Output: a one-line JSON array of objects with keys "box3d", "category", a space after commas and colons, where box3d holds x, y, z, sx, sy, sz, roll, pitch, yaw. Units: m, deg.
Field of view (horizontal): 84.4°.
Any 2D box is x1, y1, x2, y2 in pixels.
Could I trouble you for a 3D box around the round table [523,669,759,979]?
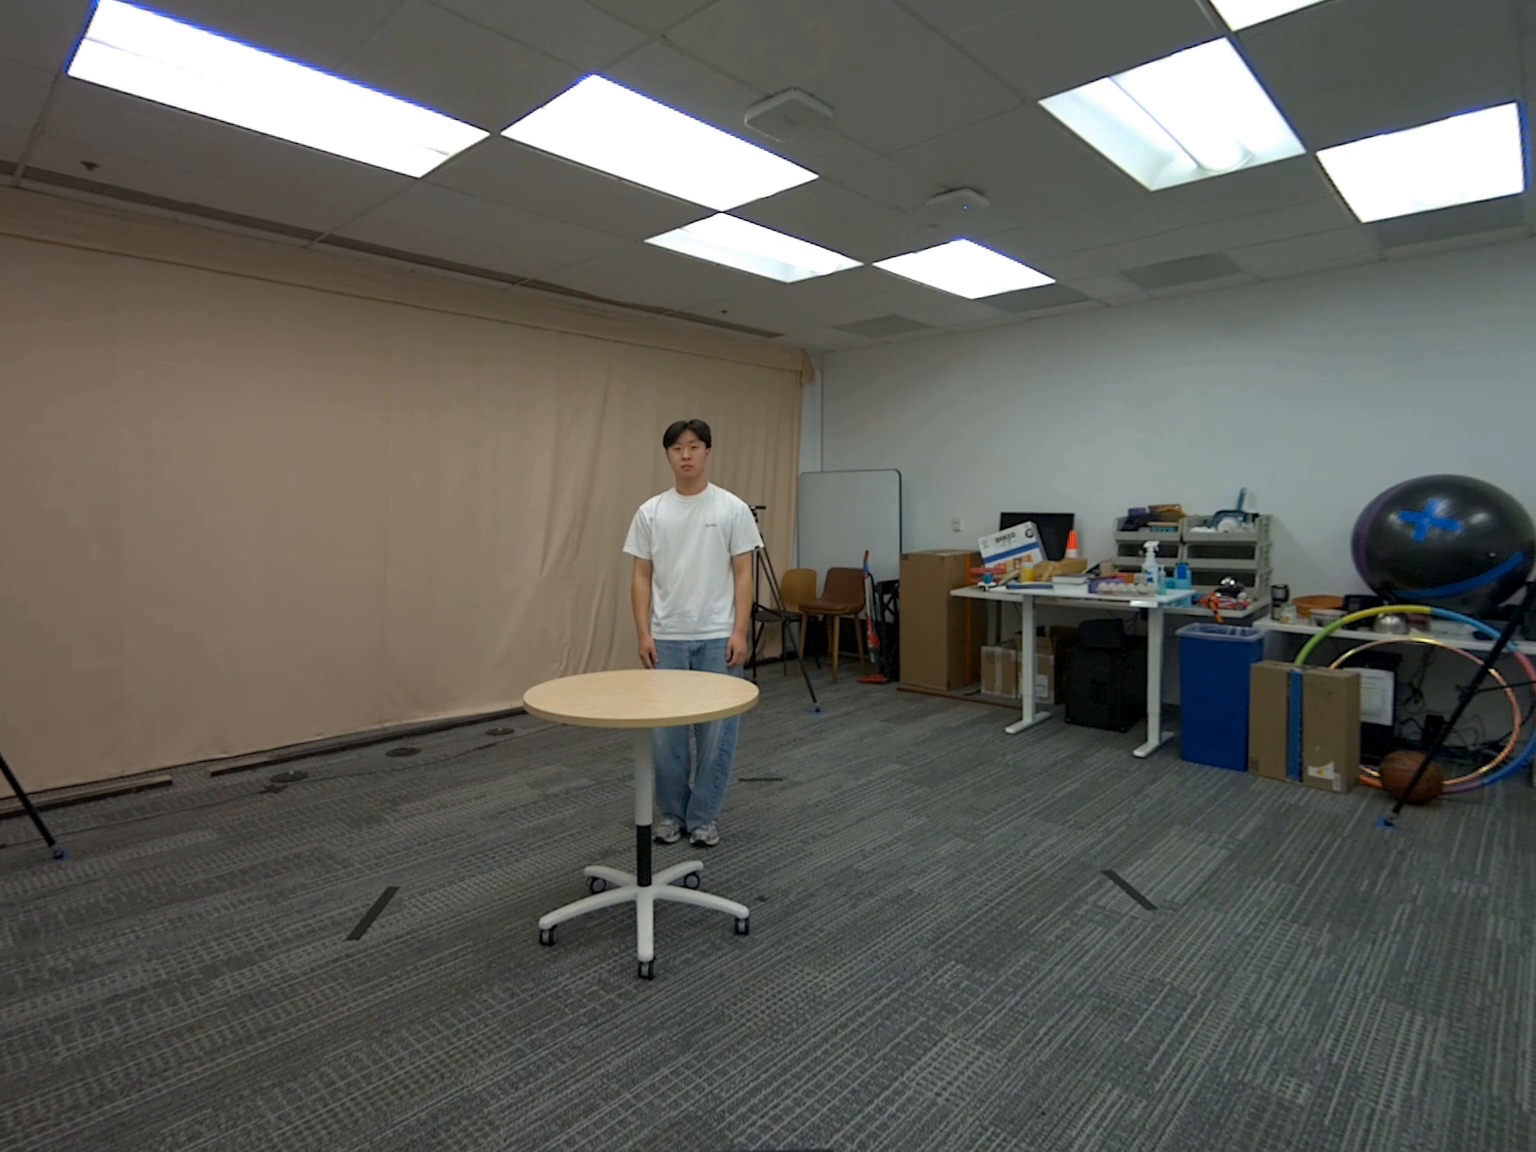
[{"box3d": [-0.393, 0.766, 2.777, 0.784, 0.785, 0.787, -1, 3, -2], "category": "round table"}]
